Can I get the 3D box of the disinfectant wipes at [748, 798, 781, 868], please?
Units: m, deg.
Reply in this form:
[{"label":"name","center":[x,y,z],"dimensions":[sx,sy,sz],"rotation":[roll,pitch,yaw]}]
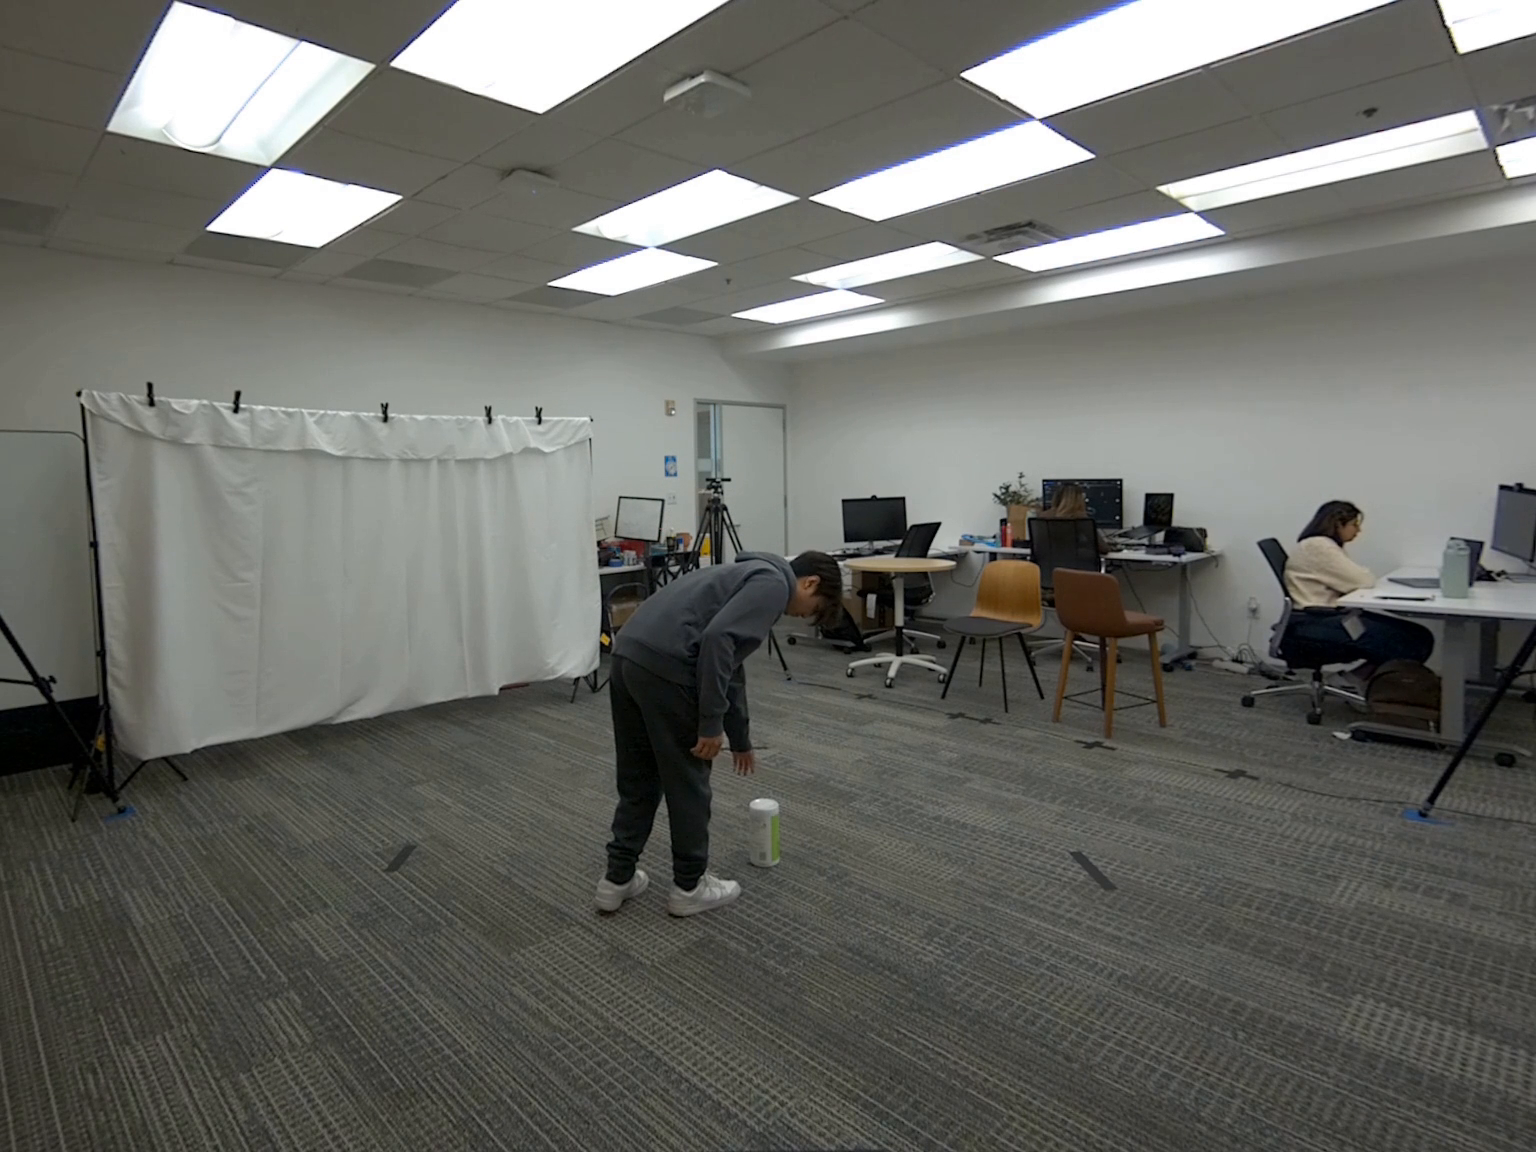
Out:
[{"label":"disinfectant wipes","center":[-0.012,0.934,3.106],"dimensions":[0.118,0.217,0.118],"rotation":[-1,4,-2]}]
